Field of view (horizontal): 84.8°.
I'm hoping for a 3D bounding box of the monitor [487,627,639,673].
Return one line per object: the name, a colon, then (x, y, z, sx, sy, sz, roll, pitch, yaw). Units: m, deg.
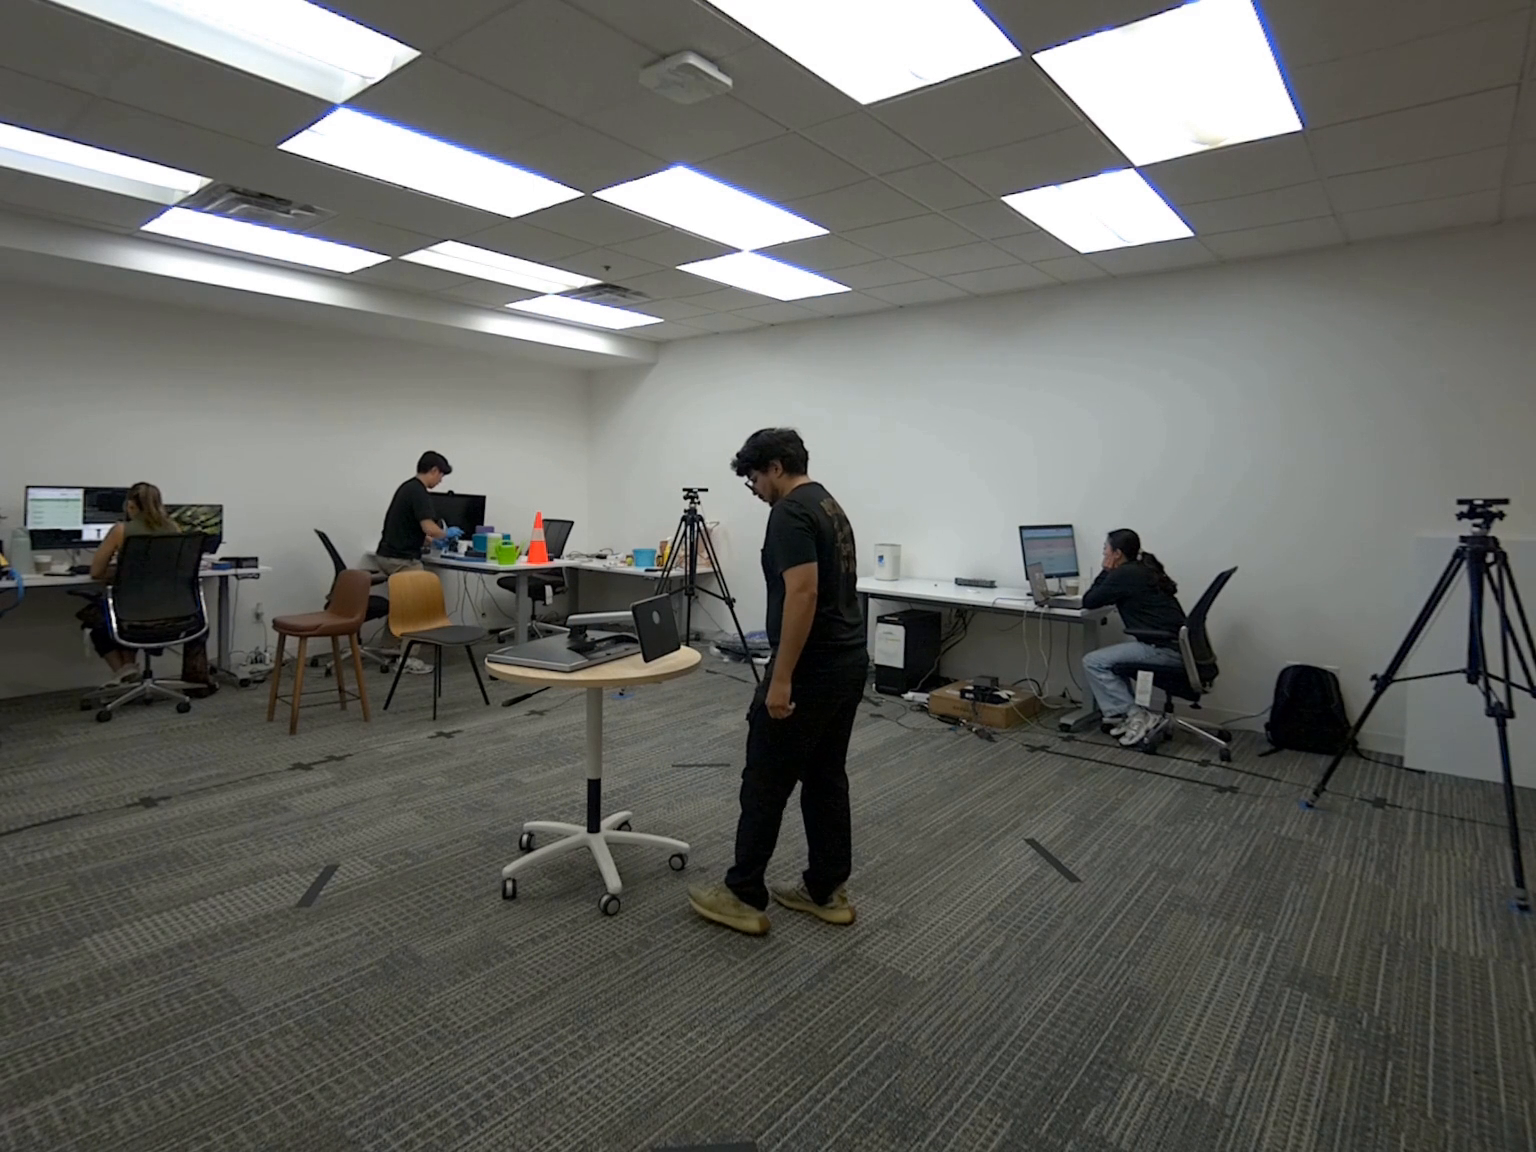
monitor: (-0.630, 0.192, 3.062, 0.567, 0.210, 0.552, -3, 3, 27)
